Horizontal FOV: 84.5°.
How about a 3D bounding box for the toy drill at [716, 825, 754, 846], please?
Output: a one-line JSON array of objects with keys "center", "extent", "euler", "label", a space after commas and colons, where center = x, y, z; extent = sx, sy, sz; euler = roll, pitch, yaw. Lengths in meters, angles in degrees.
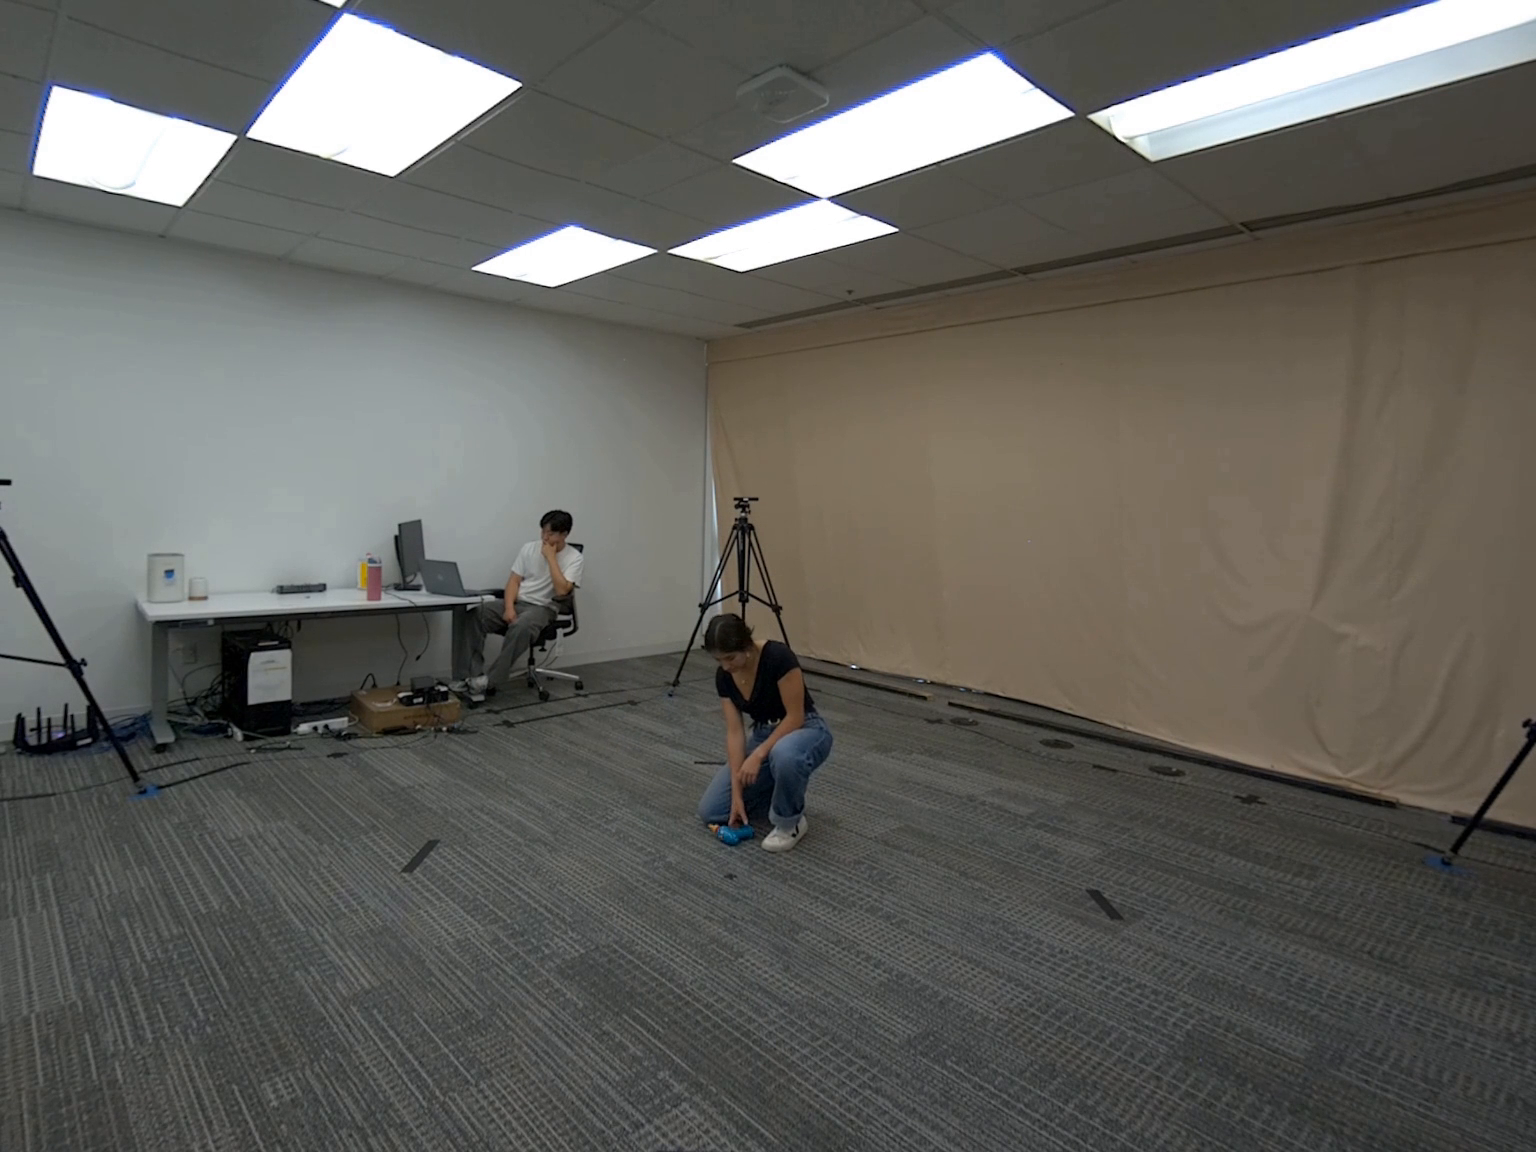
[{"center": [-0.159, 1.046, 3.459], "extent": [0.143, 0.061, 0.174], "euler": [-4, 12, -44], "label": "toy drill"}]
